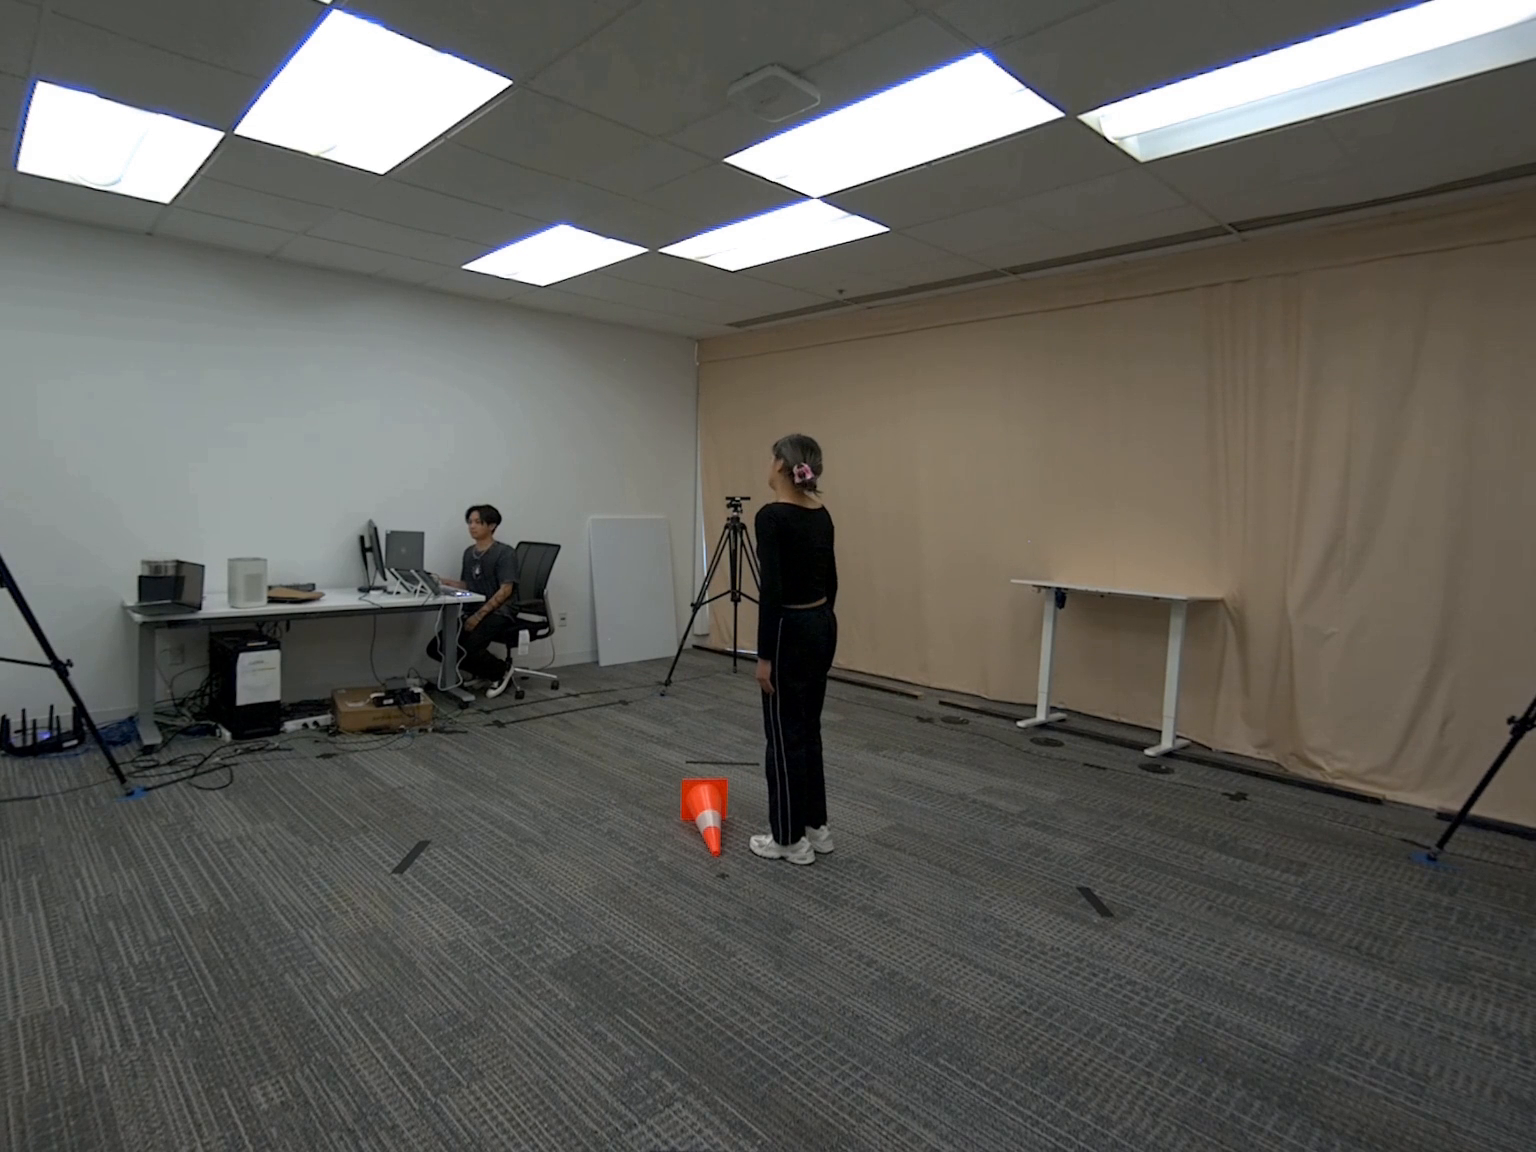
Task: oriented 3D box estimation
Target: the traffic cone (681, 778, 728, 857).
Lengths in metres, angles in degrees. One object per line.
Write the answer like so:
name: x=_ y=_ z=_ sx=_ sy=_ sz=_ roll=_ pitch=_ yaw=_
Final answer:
traffic cone: x=-0.239 y=1.027 z=3.447 sx=0.202 sy=0.202 sz=0.392 roll=-1 pitch=19 yaw=-11
